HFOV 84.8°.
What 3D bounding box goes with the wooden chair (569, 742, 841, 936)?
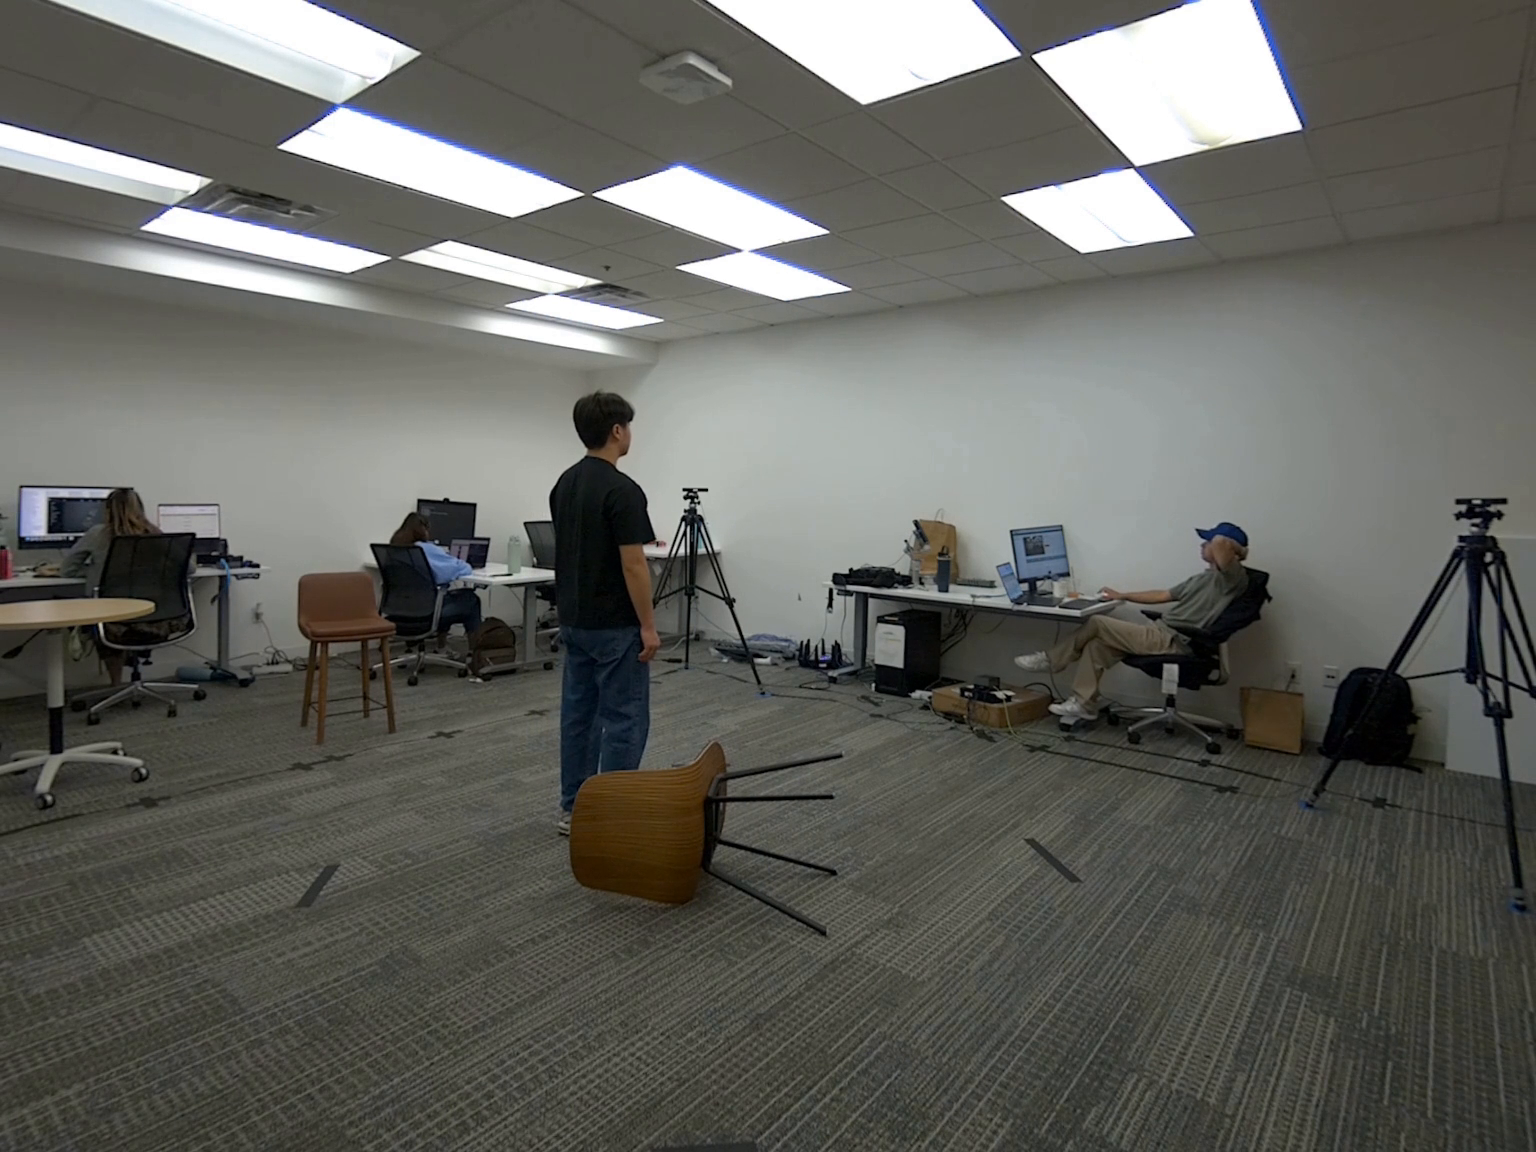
[{"bbox_3d":[-0.206,0.851,2.953,0.885,0.476,0.521,2,5,7],"label":"wooden chair"}]
